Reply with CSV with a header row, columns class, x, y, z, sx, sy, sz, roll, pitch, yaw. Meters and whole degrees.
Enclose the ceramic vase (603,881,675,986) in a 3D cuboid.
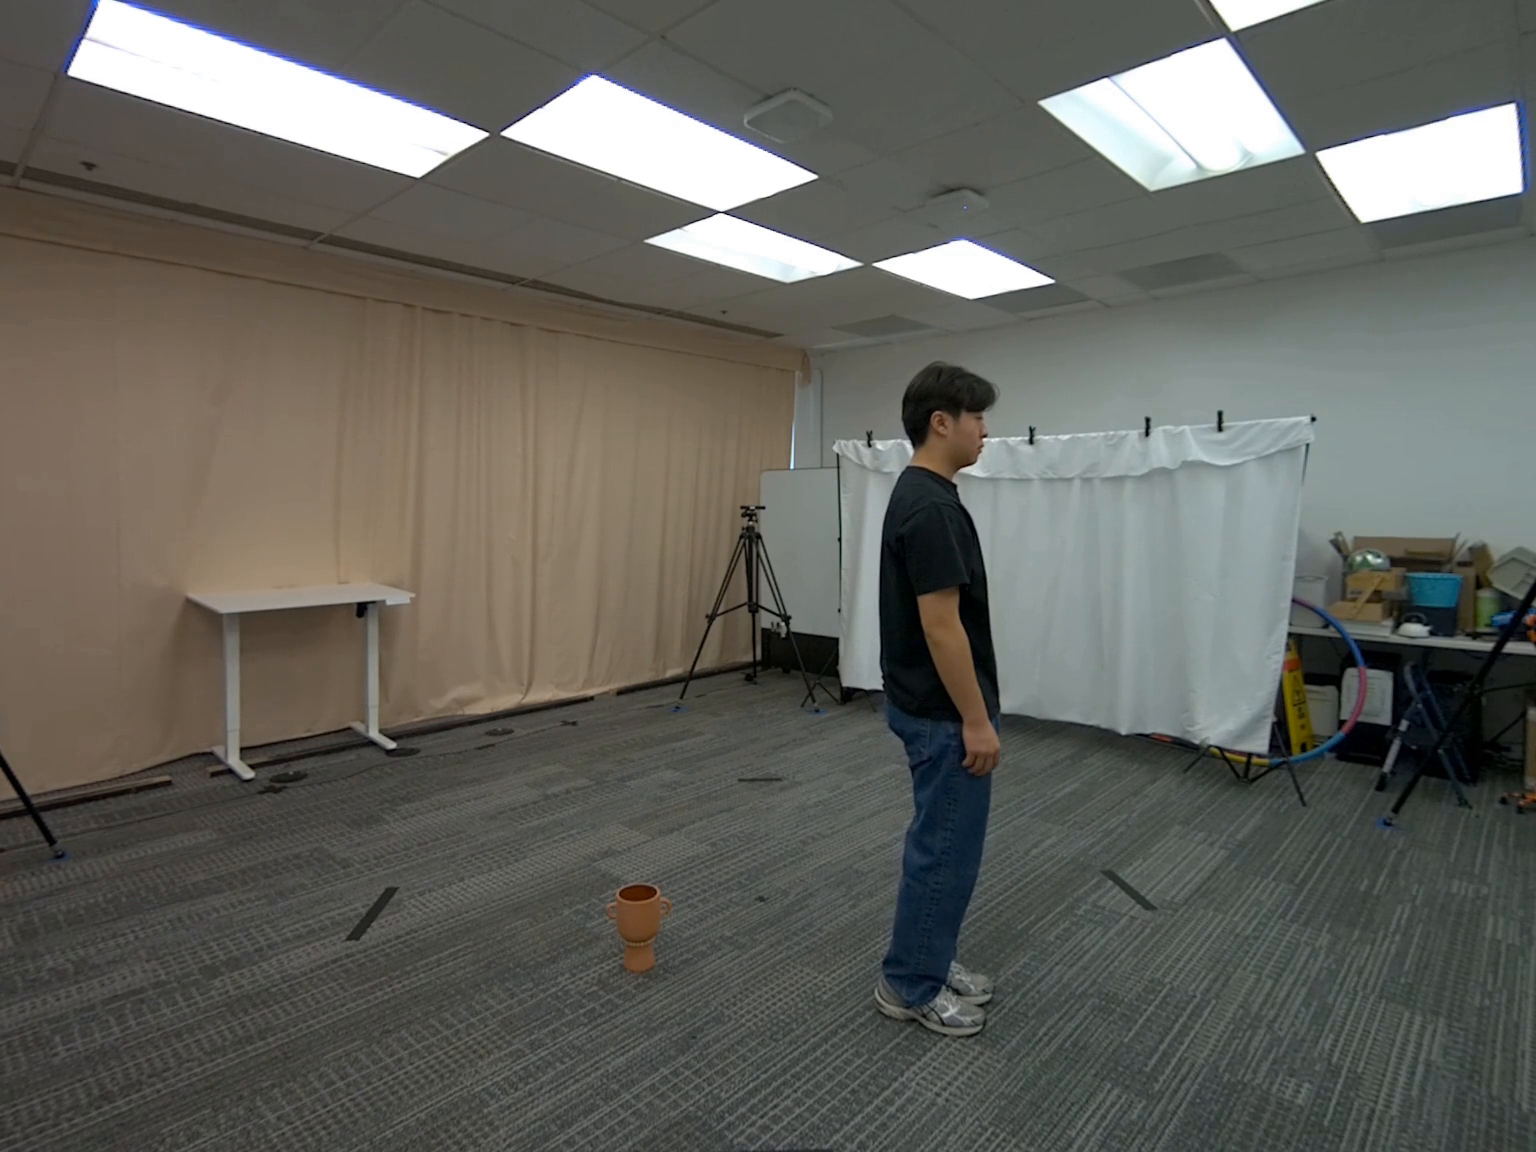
class,x,y,z,sx,sy,sz,roll,pitch,yaw
ceramic vase,-0.391,1.069,2.552,0.163,0.219,0.131,3,2,29
